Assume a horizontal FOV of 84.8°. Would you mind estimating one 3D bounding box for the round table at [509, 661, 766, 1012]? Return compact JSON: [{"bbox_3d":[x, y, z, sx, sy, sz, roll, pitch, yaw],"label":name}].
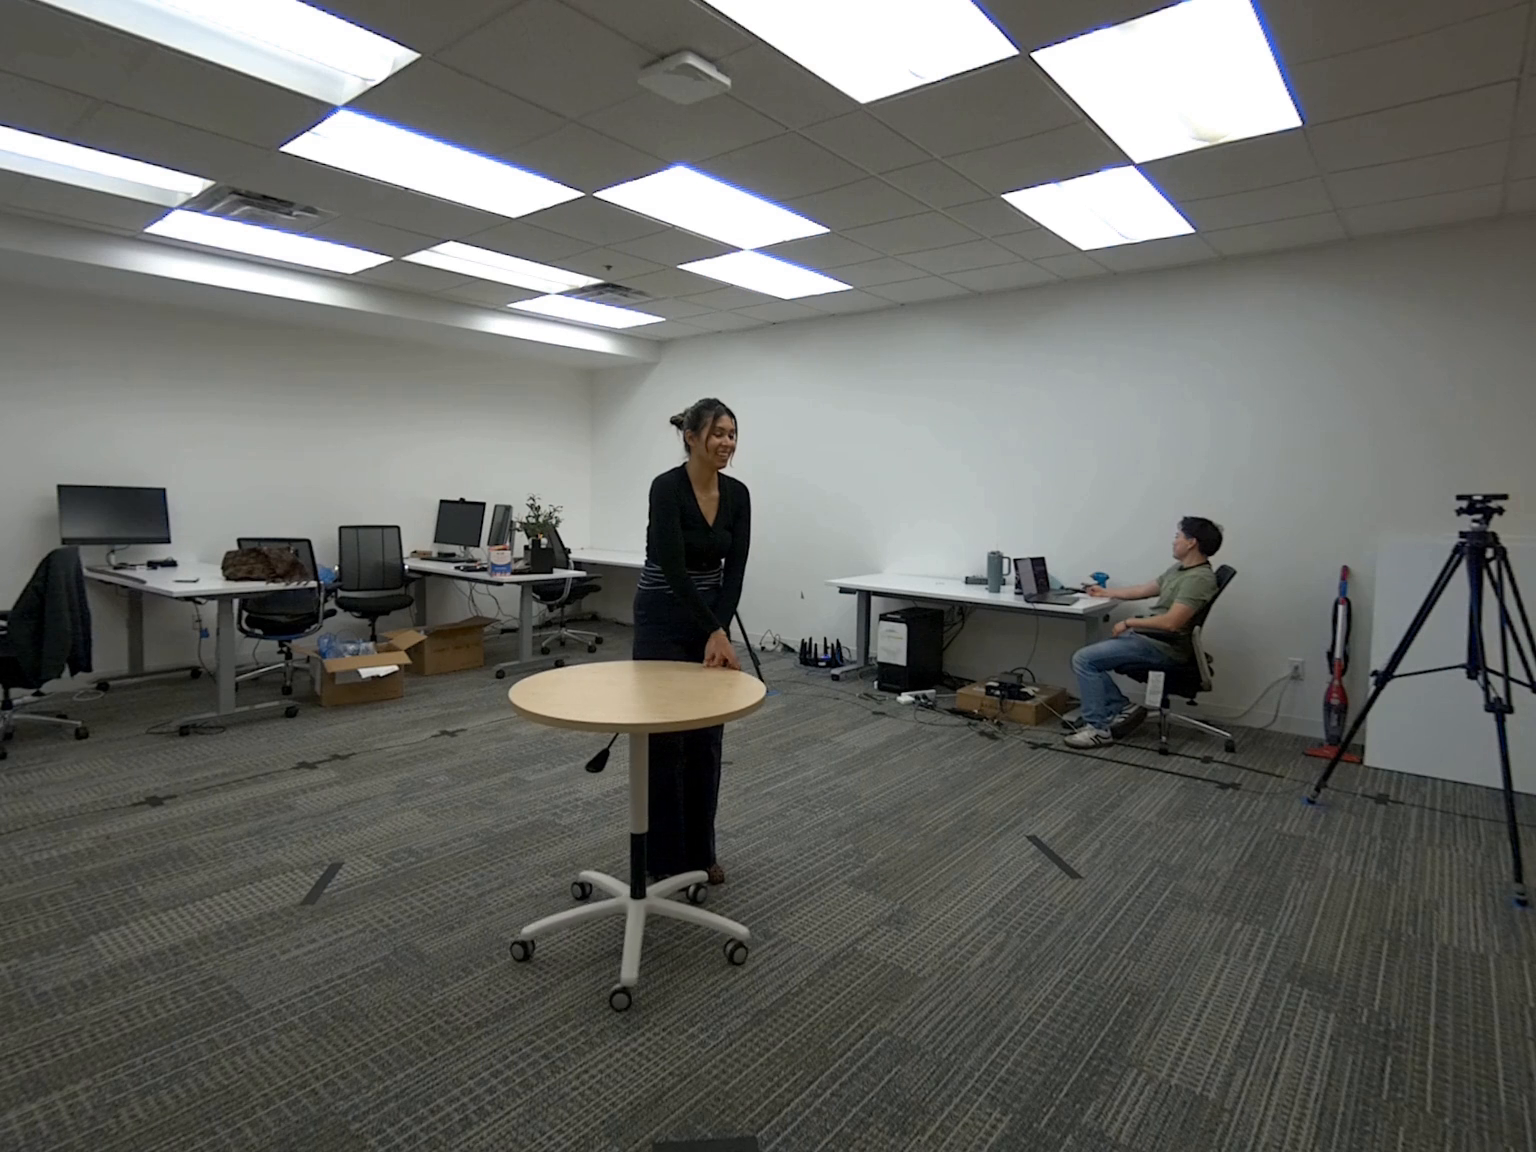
[{"bbox_3d":[-0.403,0.727,2.575,0.763,0.791,0.768,0,5,-2],"label":"round table"}]
